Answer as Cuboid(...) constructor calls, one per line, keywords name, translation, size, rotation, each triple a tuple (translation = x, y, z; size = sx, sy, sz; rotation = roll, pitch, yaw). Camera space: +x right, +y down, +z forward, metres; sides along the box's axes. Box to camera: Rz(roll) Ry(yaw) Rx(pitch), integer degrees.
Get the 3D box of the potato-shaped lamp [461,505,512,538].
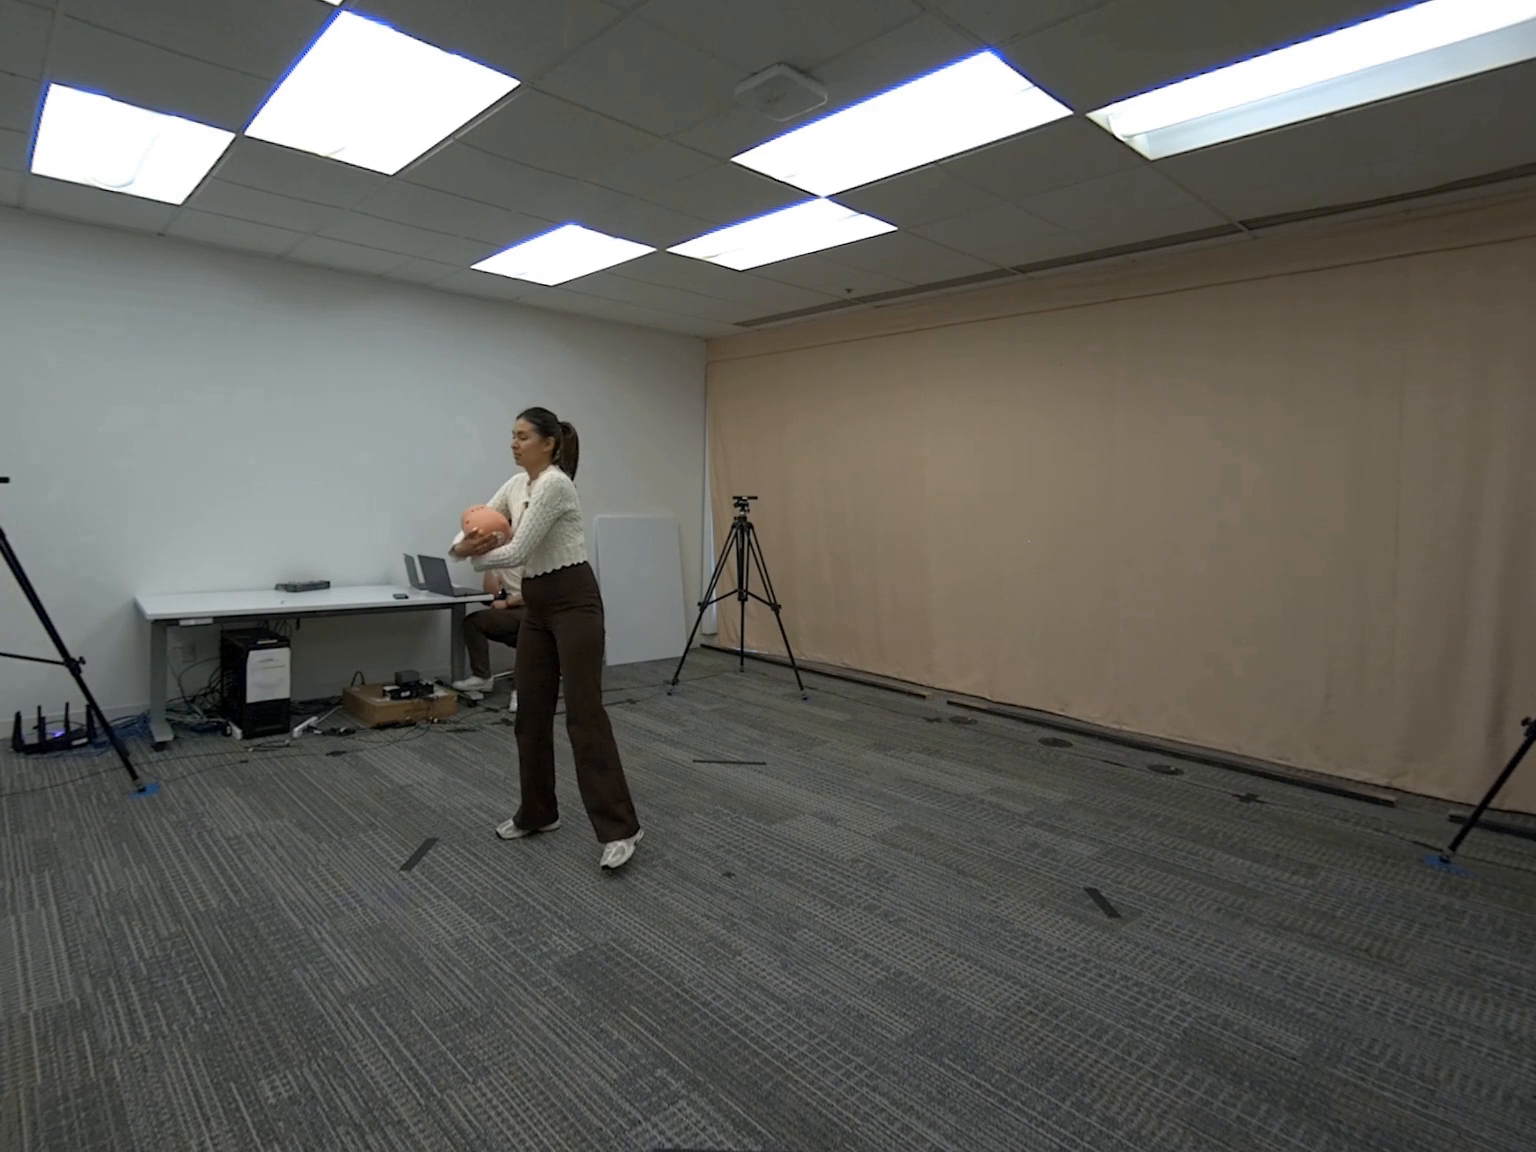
Cuboid(name="potato-shaped lamp", translation=(-1.105, -0.191, 3.272), size=(0.162, 0.169, 0.204), rotation=(-21, 55, -30))
